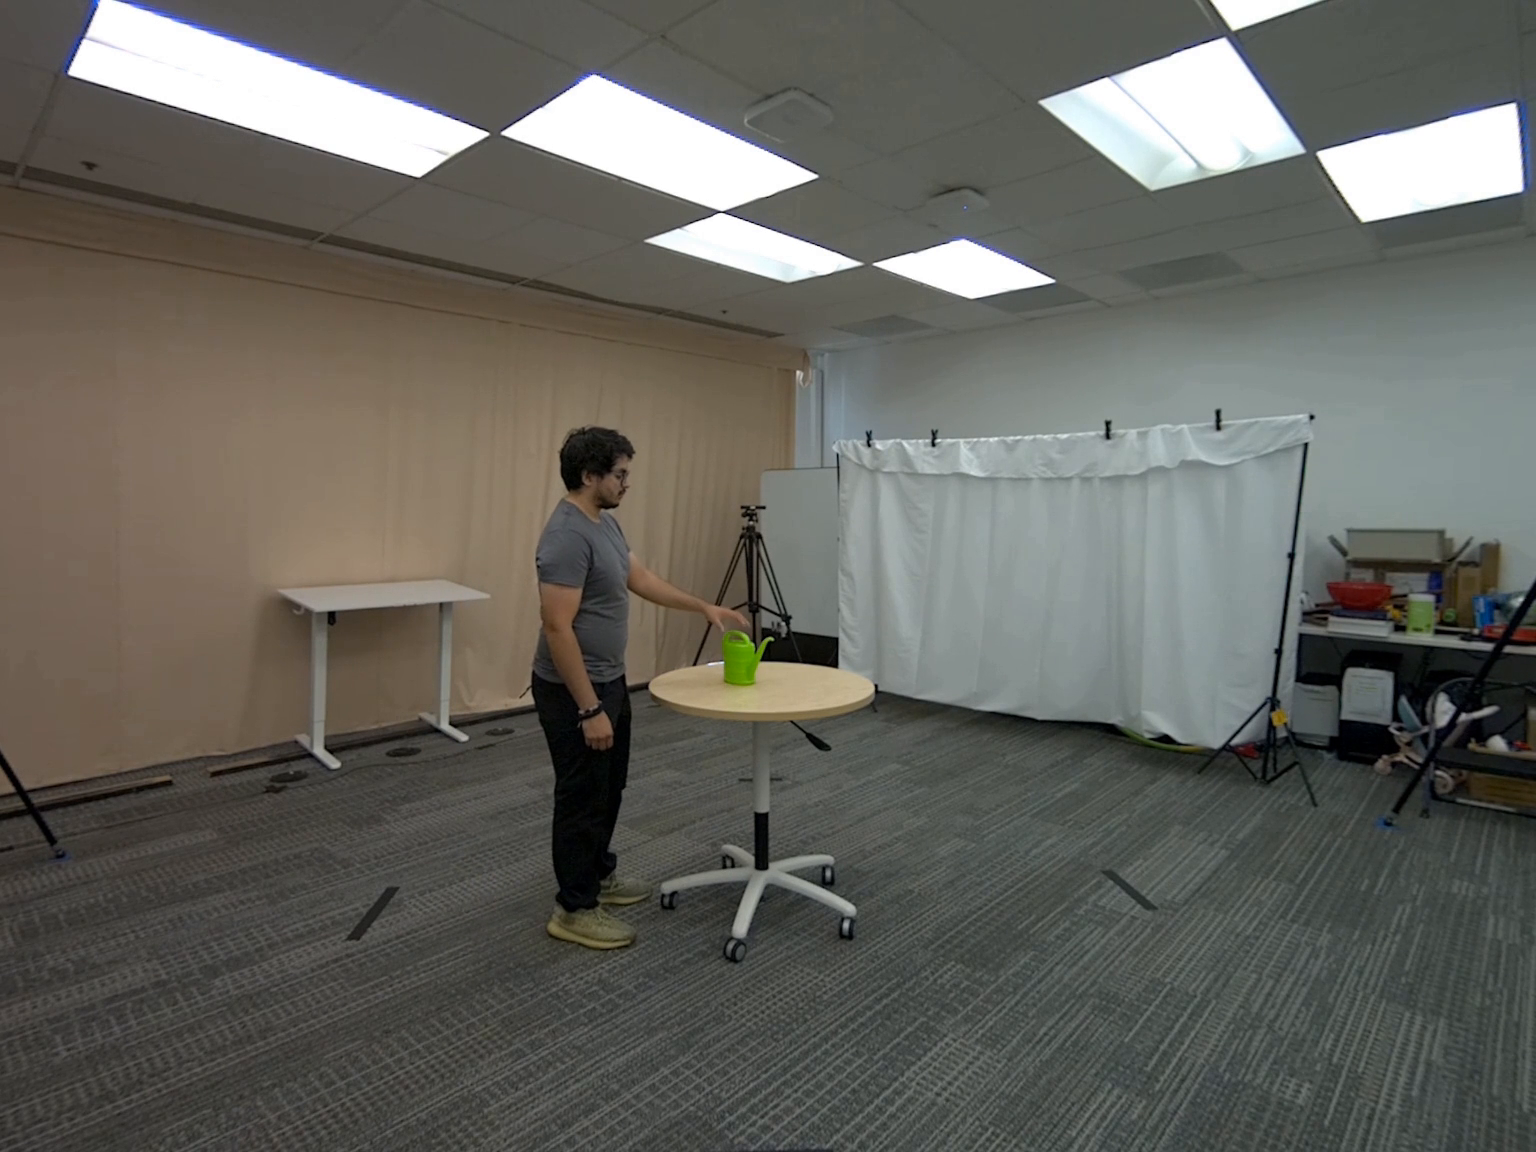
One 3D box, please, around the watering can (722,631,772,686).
[{"bbox_3d":[-0.082,0.282,2.860,0.096,0.176,0.284,1,3,-21],"label":"watering can"}]
